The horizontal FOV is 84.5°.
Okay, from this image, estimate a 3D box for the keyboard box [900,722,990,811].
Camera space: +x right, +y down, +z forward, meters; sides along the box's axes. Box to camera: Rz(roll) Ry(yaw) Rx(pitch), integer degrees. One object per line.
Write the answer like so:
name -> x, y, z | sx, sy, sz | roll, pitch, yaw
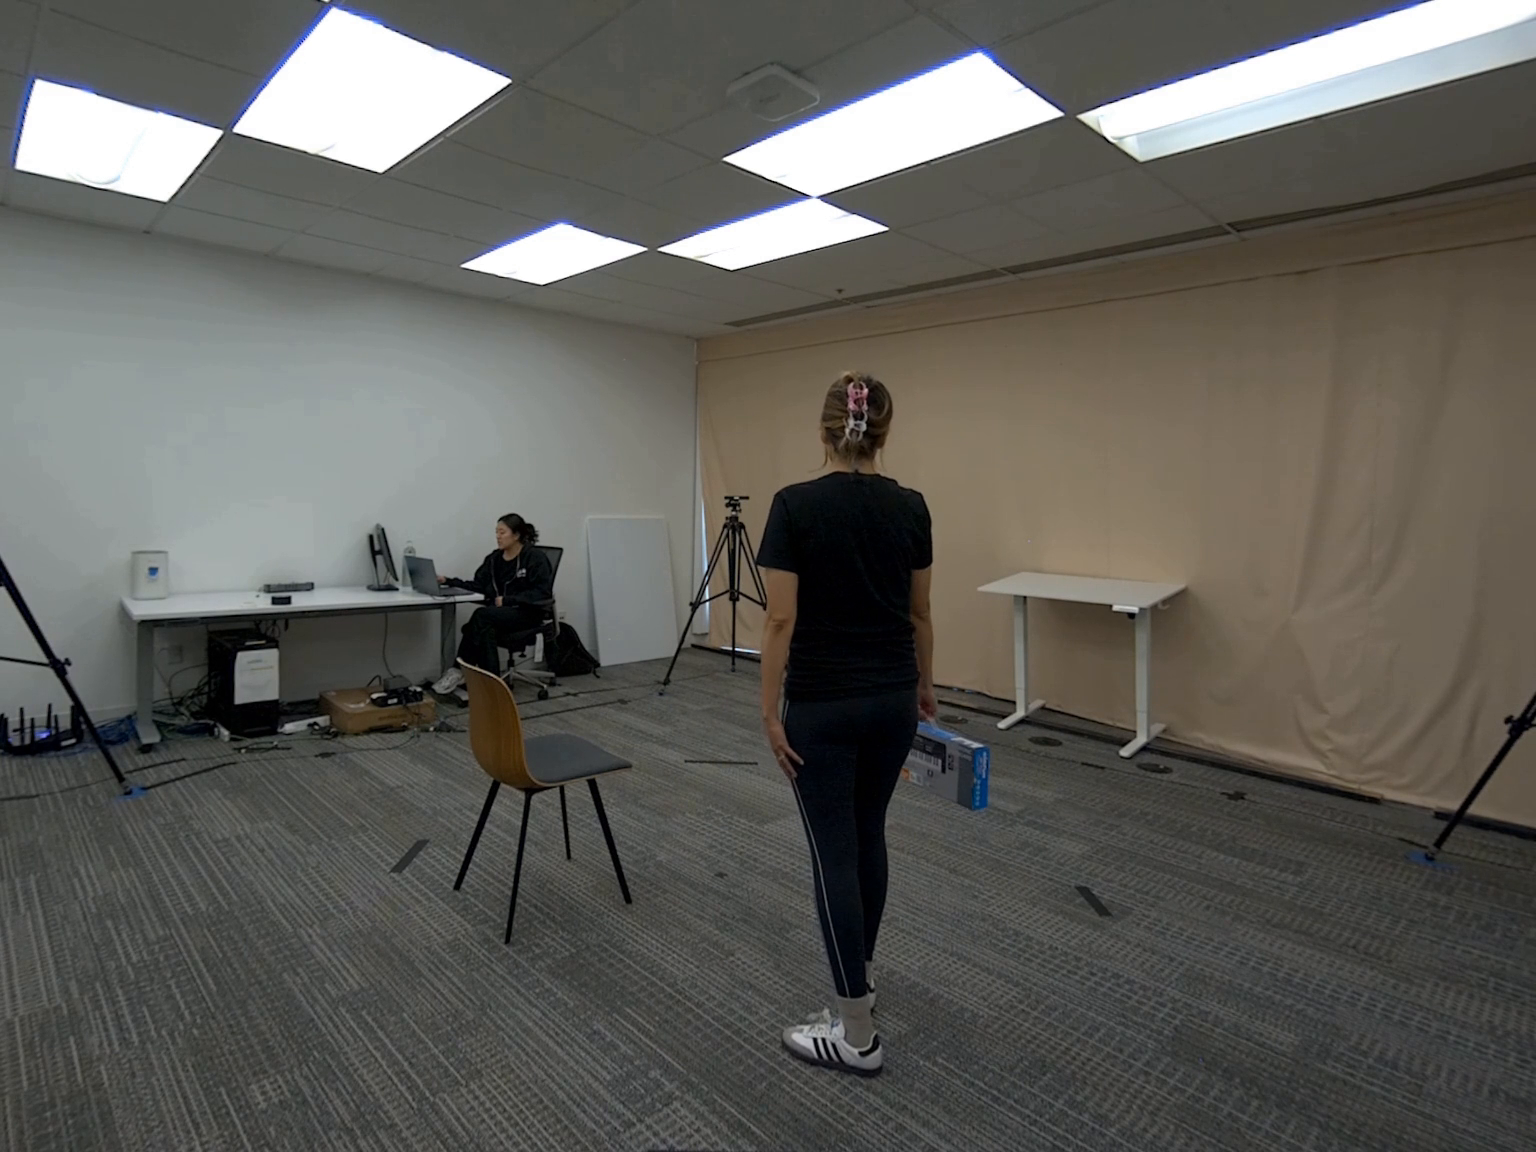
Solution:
keyboard box -> 0.458, 0.535, 2.476 | 0.058, 0.175, 0.447 | -2, 6, -31
